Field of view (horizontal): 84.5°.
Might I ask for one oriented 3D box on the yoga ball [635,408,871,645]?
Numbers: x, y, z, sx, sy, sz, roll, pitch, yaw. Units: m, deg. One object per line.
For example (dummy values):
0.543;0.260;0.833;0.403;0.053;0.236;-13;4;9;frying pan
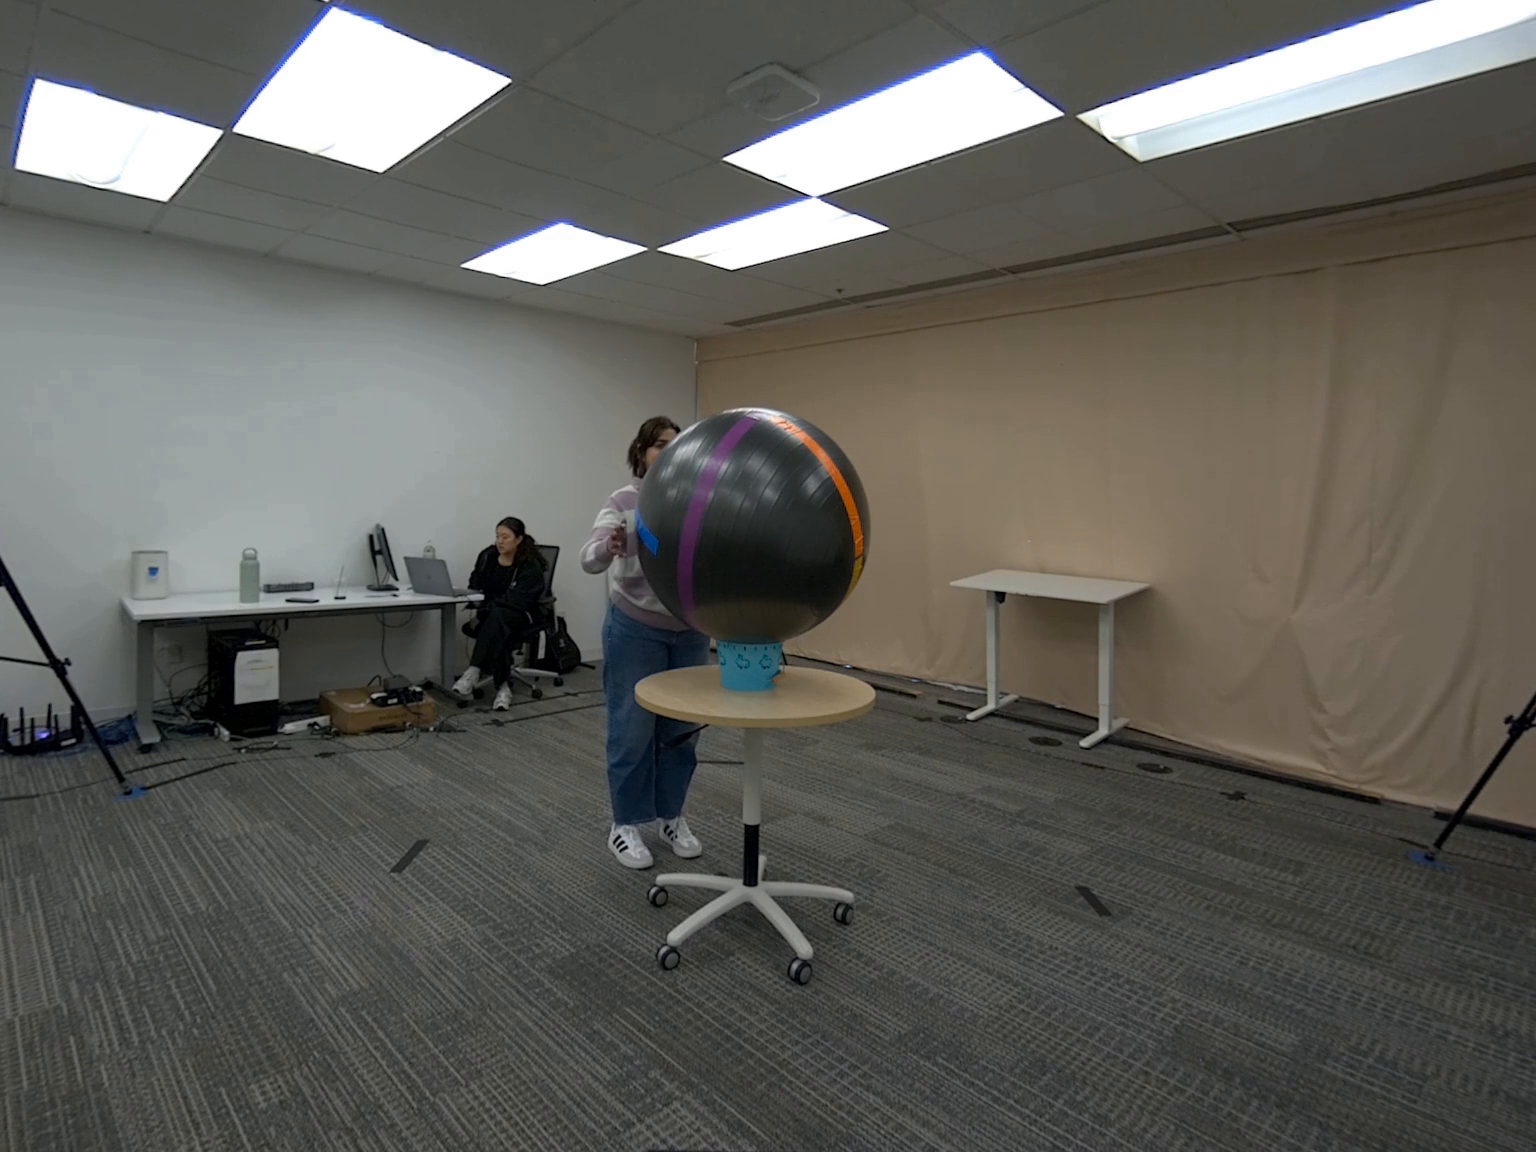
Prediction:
-0.045;-0.151;2.709;0.757;0.756;0.761;1;4;-1;yoga ball
